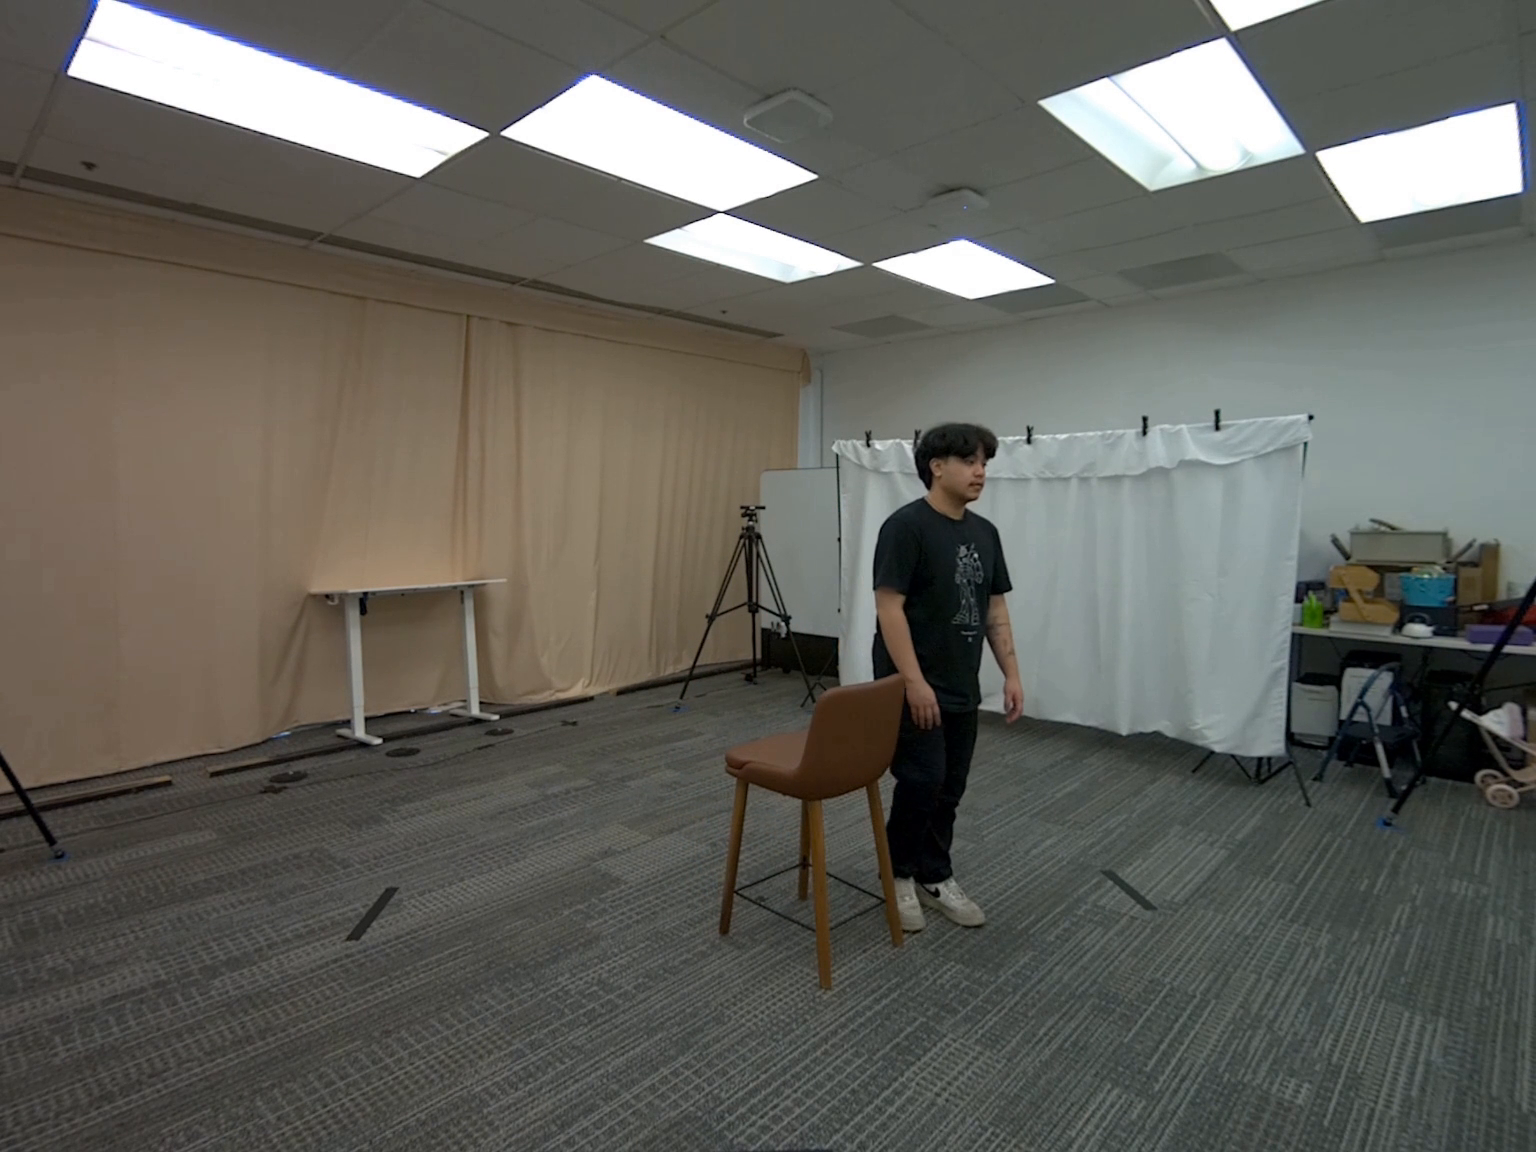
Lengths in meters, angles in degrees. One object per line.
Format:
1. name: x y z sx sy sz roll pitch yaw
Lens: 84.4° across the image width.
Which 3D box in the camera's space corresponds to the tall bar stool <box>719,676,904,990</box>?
1. tall bar stool: 0.144 0.738 2.674 0.442 0.887 0.483 -3 7 -44
